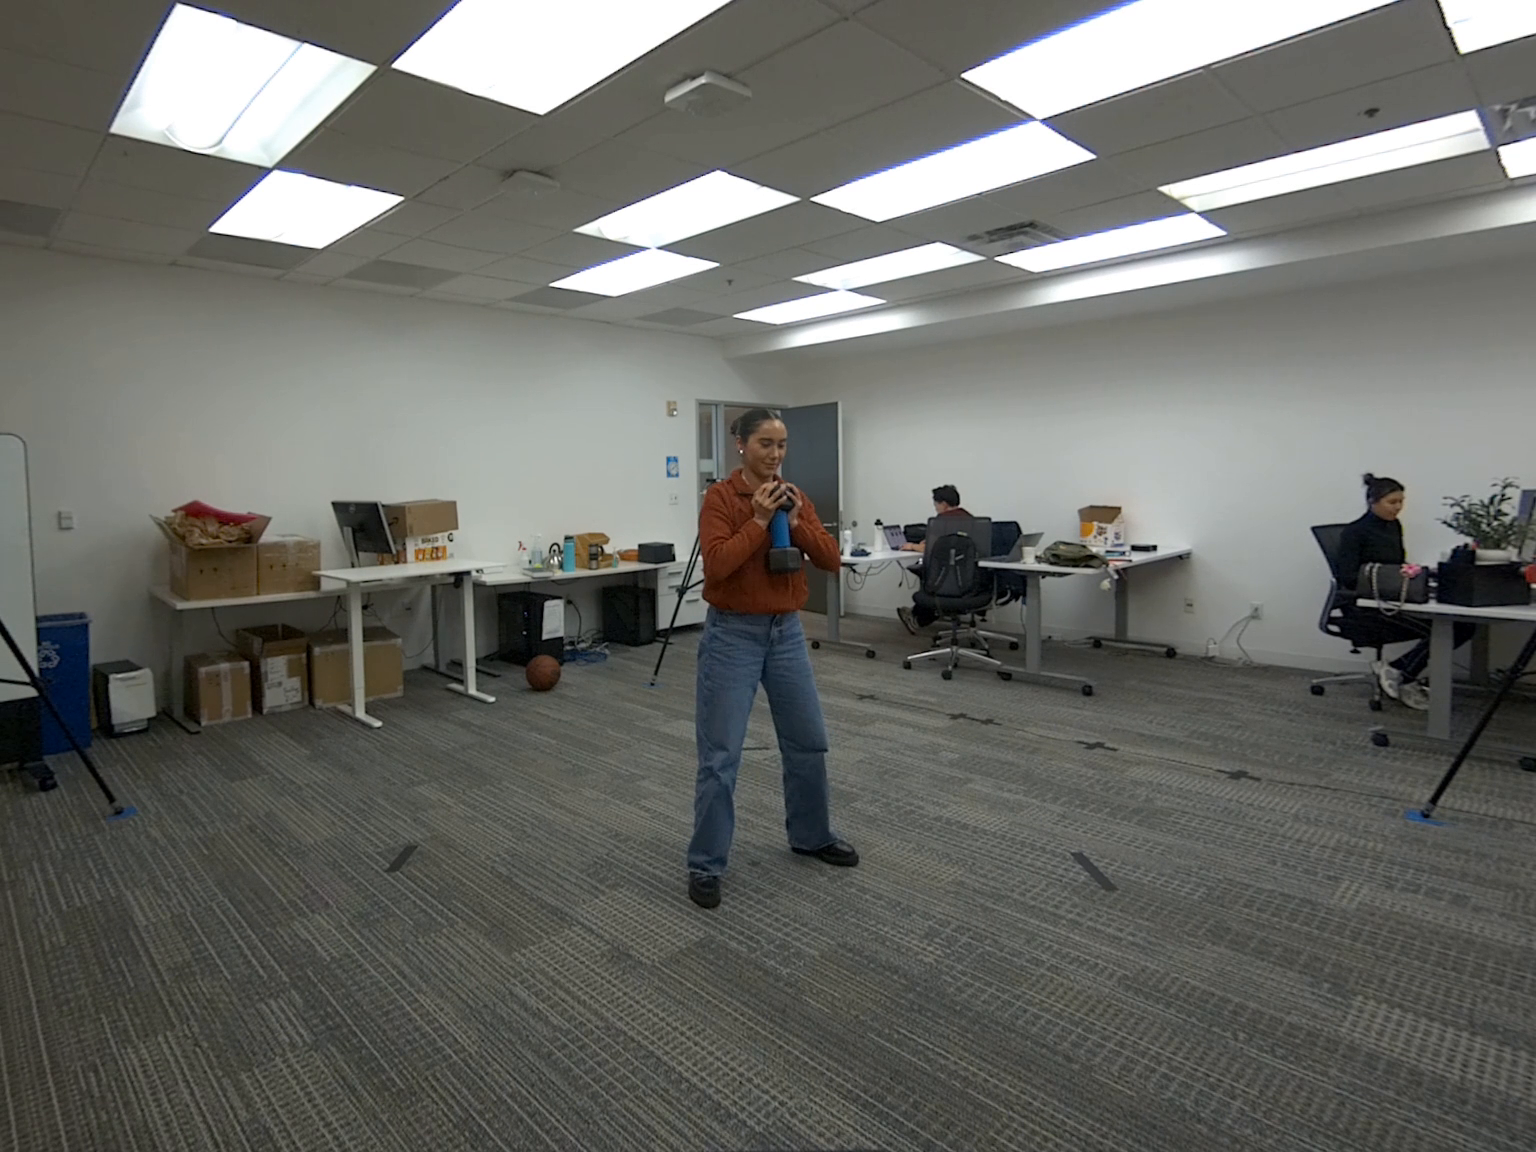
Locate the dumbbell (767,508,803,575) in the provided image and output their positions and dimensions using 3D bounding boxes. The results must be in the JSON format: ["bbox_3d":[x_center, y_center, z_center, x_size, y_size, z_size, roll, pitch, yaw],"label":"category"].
[{"bbox_3d":[0.025,-0.147,2.884,0.111,0.296,0.119,-13,-10,42],"label":"dumbbell"}]
